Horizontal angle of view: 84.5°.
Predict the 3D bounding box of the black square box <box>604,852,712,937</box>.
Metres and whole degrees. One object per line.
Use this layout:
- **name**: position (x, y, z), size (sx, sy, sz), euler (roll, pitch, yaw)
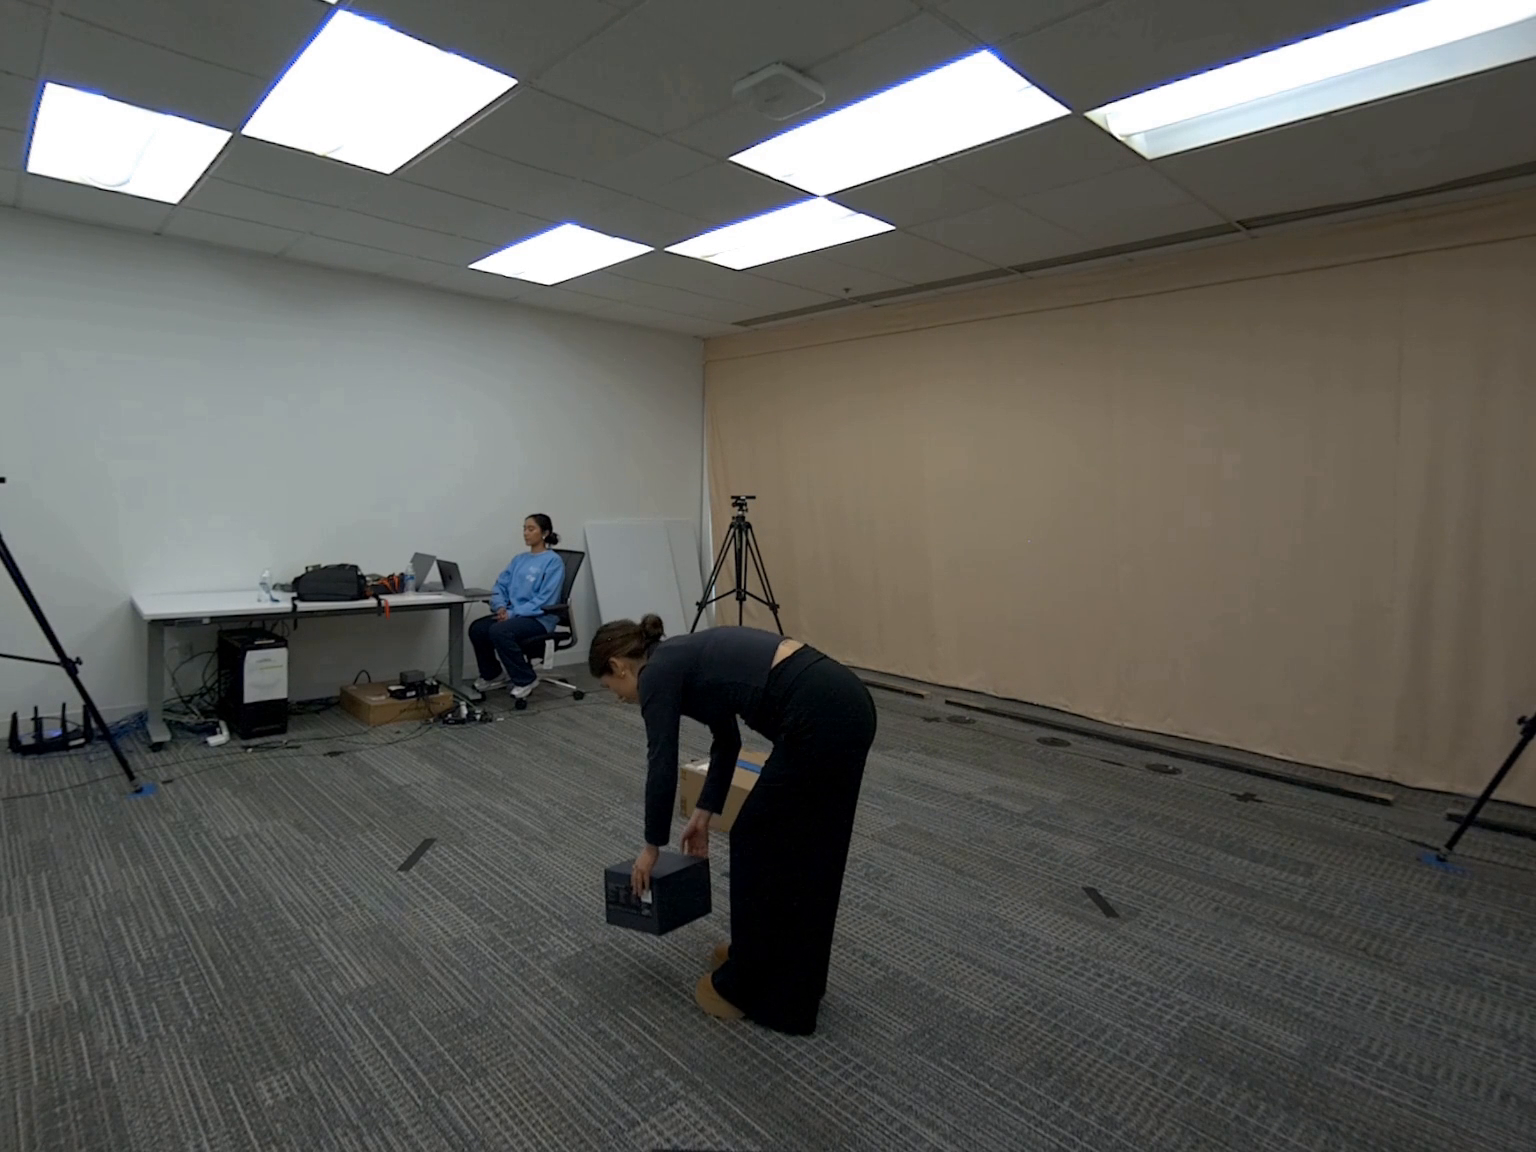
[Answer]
- **black square box**: position (-0.327, 0.909, 2.455), size (0.221, 0.156, 0.222), euler (-6, -5, 37)
